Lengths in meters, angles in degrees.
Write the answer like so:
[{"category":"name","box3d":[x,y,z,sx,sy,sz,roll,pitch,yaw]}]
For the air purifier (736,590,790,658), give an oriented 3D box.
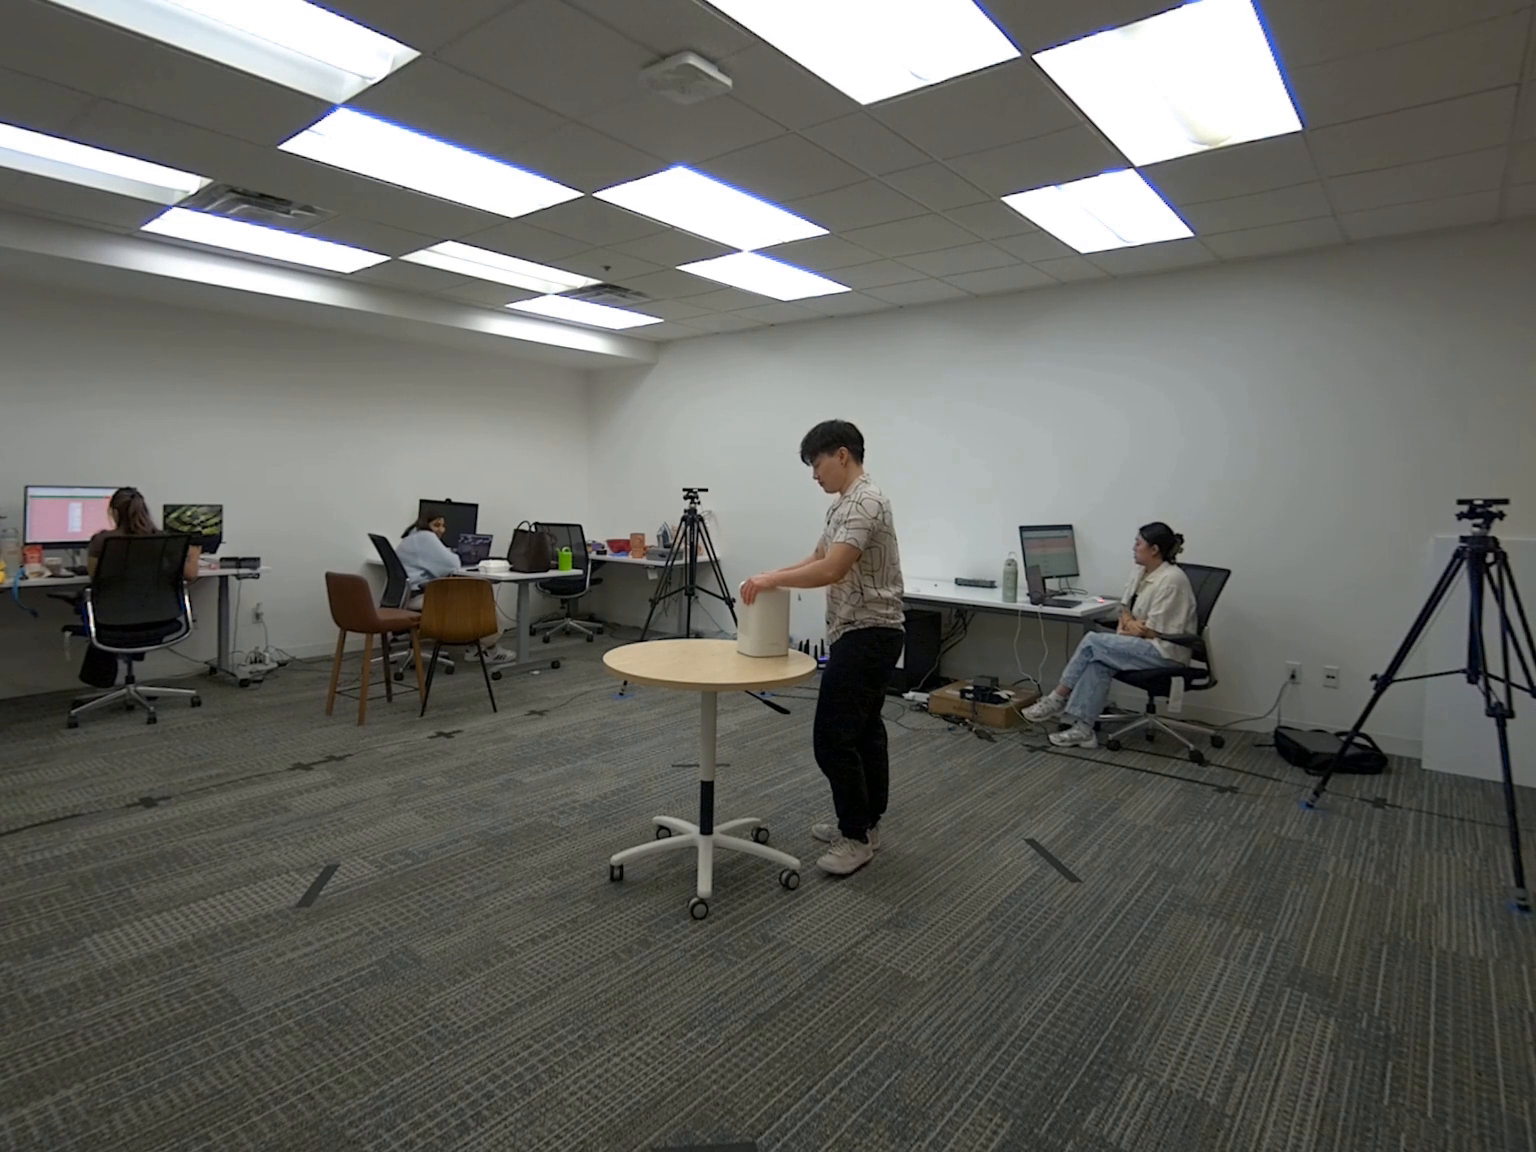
[{"category":"air purifier","box3d":[-0.024,0.154,3.185,0.167,0.264,0.176,0,5,-23]}]
